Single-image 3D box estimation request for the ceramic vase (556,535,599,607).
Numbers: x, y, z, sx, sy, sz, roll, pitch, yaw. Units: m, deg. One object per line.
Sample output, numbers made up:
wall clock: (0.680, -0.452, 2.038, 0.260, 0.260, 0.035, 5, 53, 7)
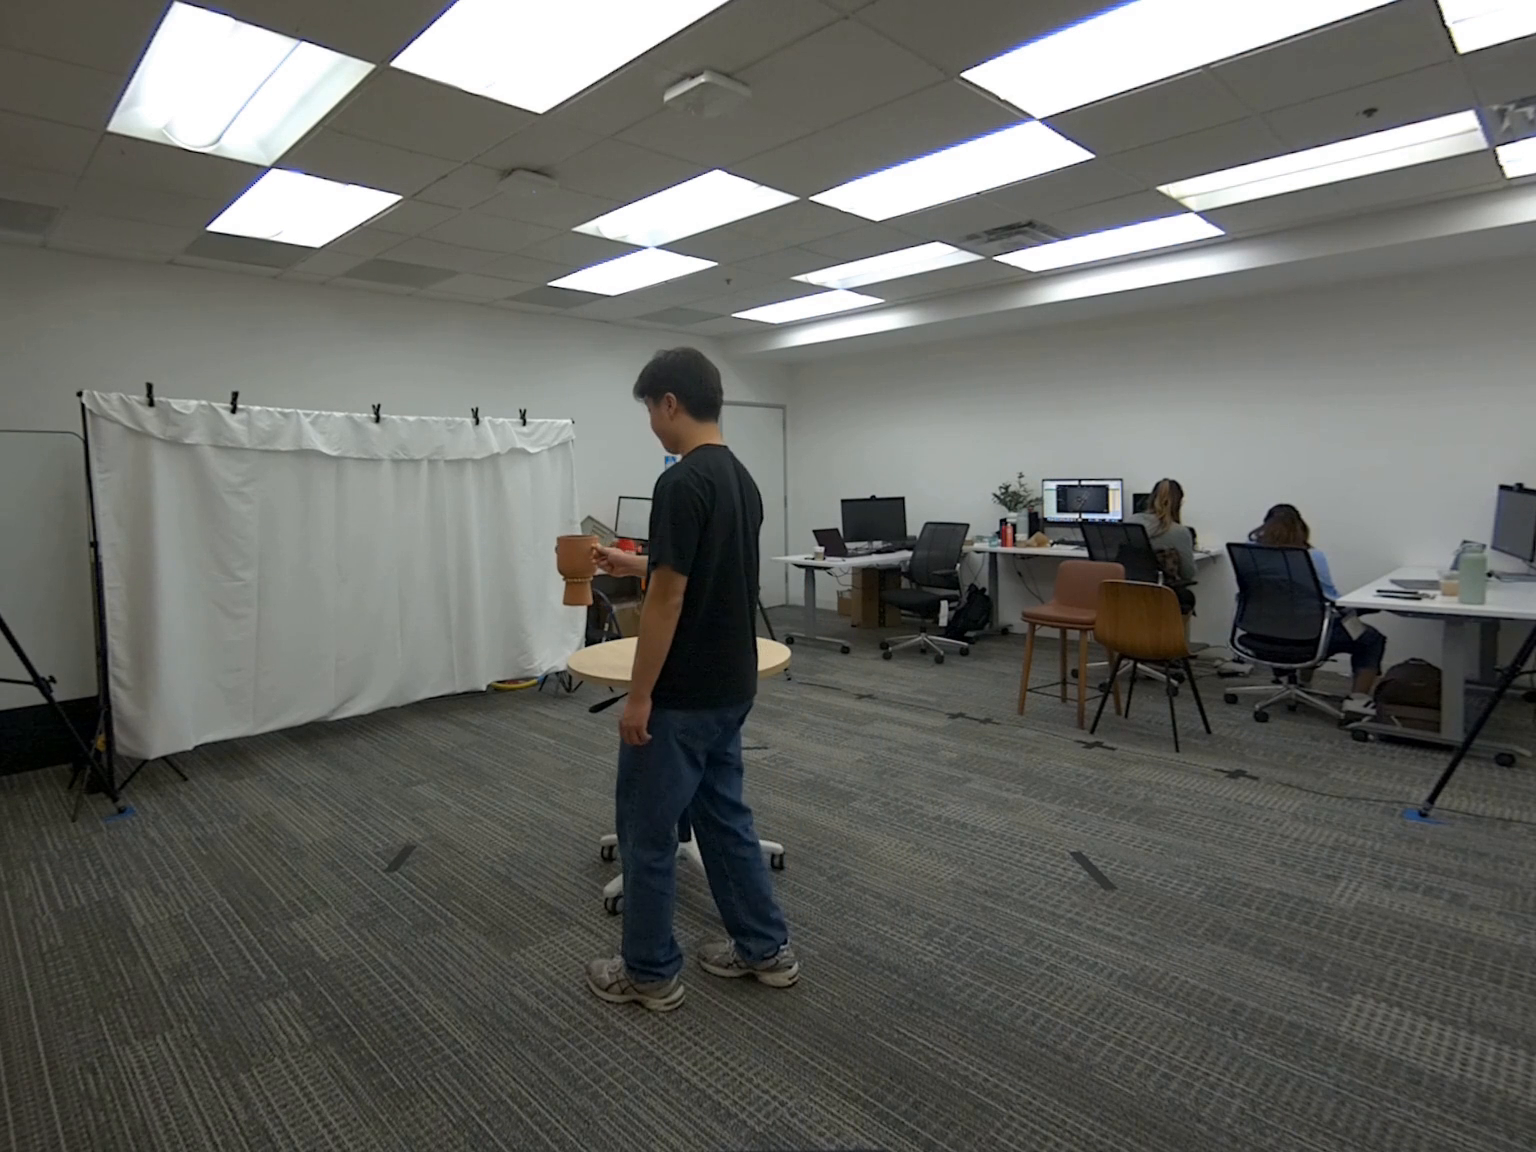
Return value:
ceramic vase: (-0.613, -0.019, 2.754, 0.132, 0.219, 0.162, -1, 4, -19)
